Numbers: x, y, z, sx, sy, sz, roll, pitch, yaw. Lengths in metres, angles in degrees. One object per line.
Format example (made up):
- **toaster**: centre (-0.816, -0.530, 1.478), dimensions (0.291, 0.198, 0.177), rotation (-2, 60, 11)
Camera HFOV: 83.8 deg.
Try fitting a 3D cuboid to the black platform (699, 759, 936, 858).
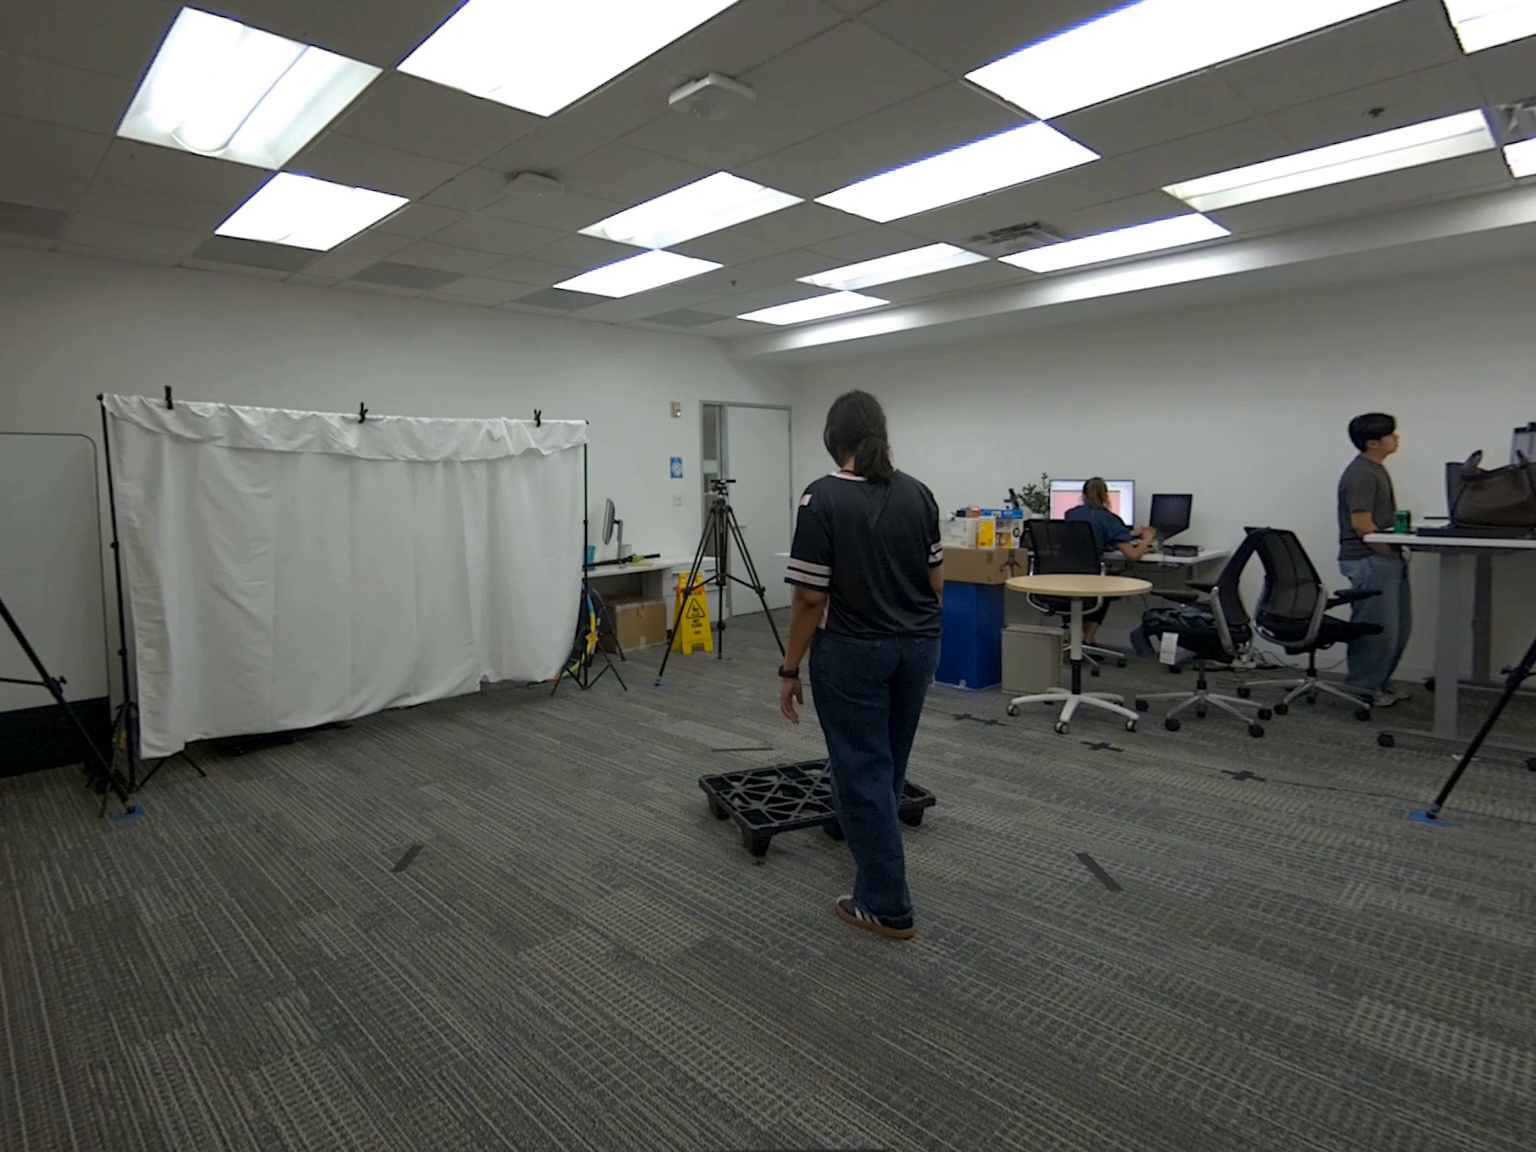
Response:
- **black platform**: centre (0.183, 0.930, 3.516), dimensions (0.790, 0.143, 0.619), rotation (-3, 6, -22)
